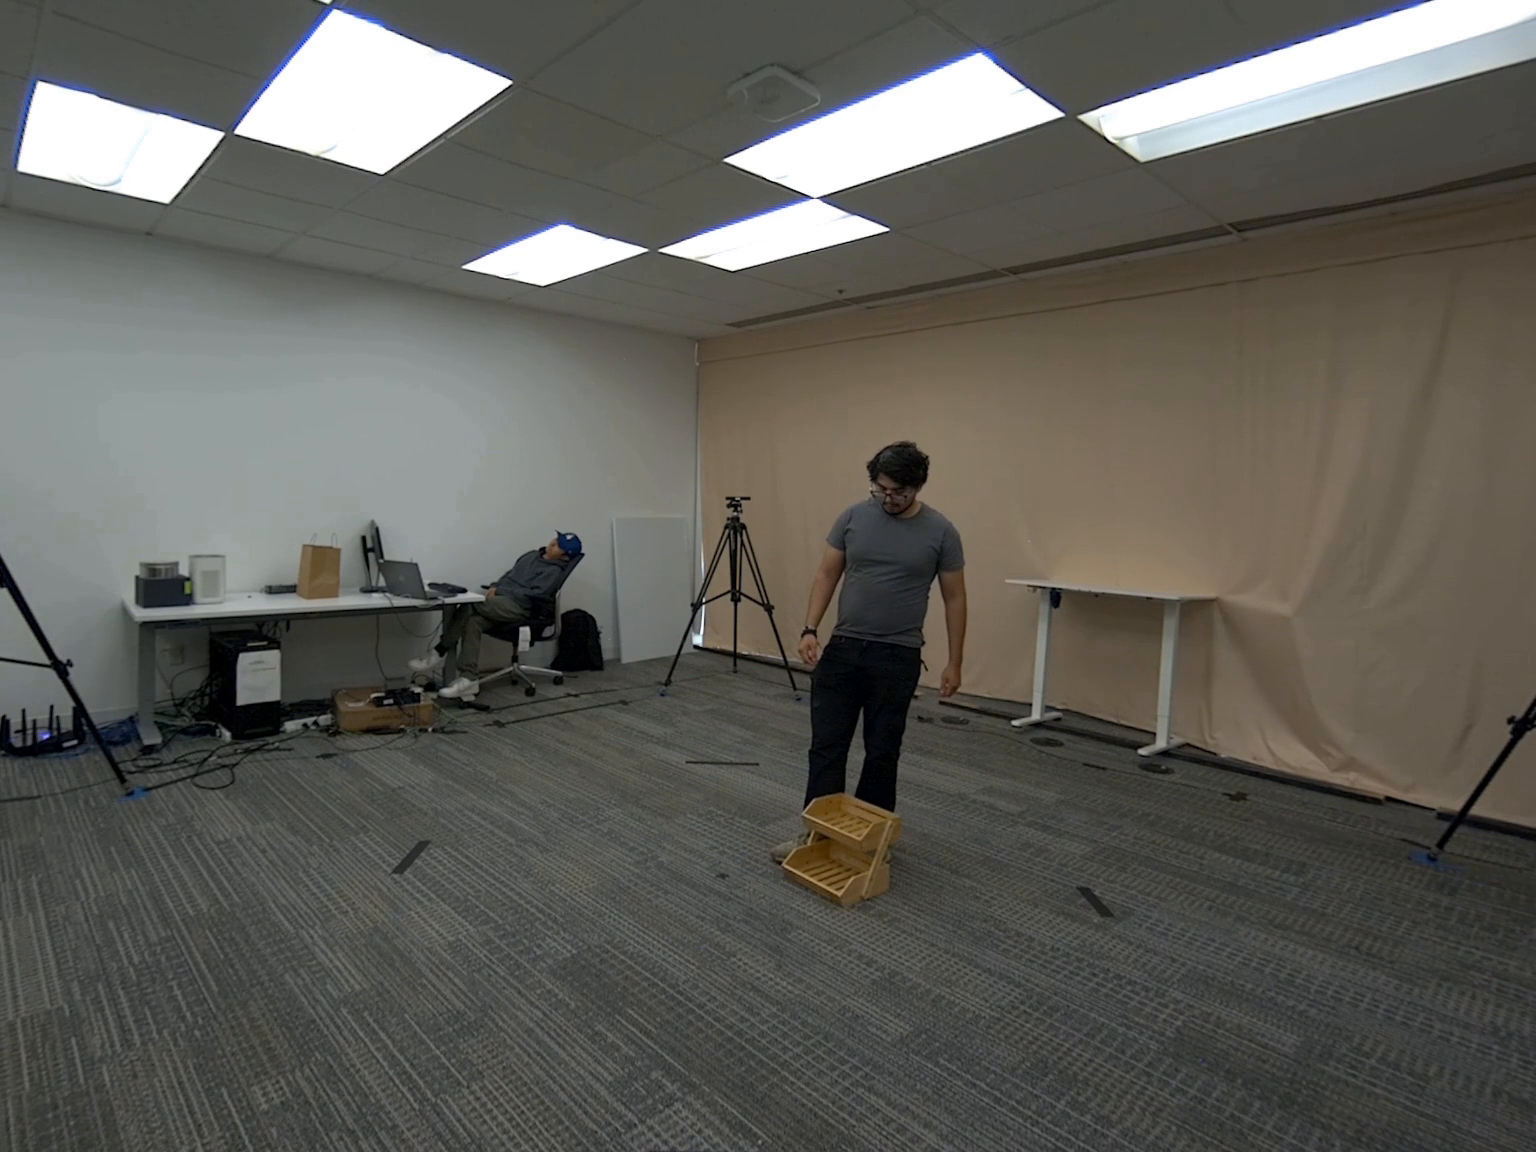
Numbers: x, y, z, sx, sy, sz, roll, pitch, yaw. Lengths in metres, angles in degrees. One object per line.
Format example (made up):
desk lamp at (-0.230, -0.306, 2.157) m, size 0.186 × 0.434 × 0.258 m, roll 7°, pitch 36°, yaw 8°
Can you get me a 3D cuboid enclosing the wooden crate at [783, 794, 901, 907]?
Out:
wooden crate at (0.256, 0.982, 3.064) m, size 0.295 × 0.273 × 0.332 m, roll -1°, pitch 4°, yaw -39°
